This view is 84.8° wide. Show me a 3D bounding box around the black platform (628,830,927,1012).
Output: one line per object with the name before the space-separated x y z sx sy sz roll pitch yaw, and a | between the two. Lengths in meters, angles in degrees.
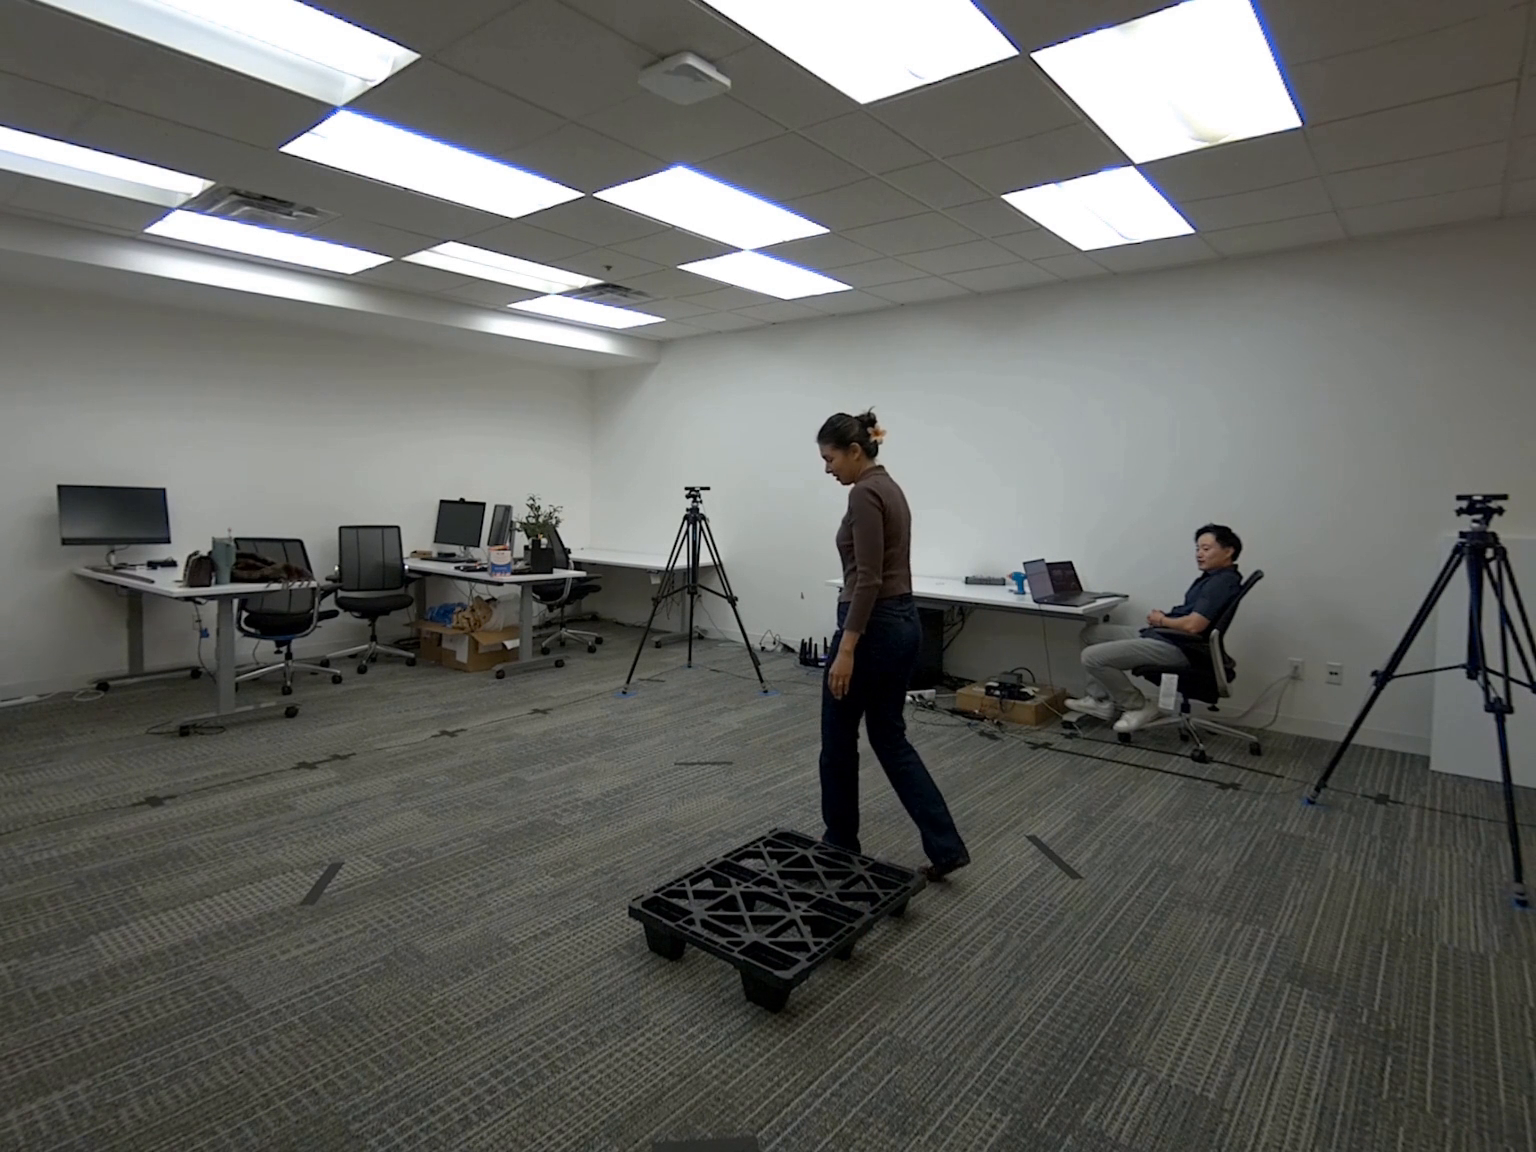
black platform | 0.033 1.046 2.676 0.625 0.143 0.782 5 6 38
